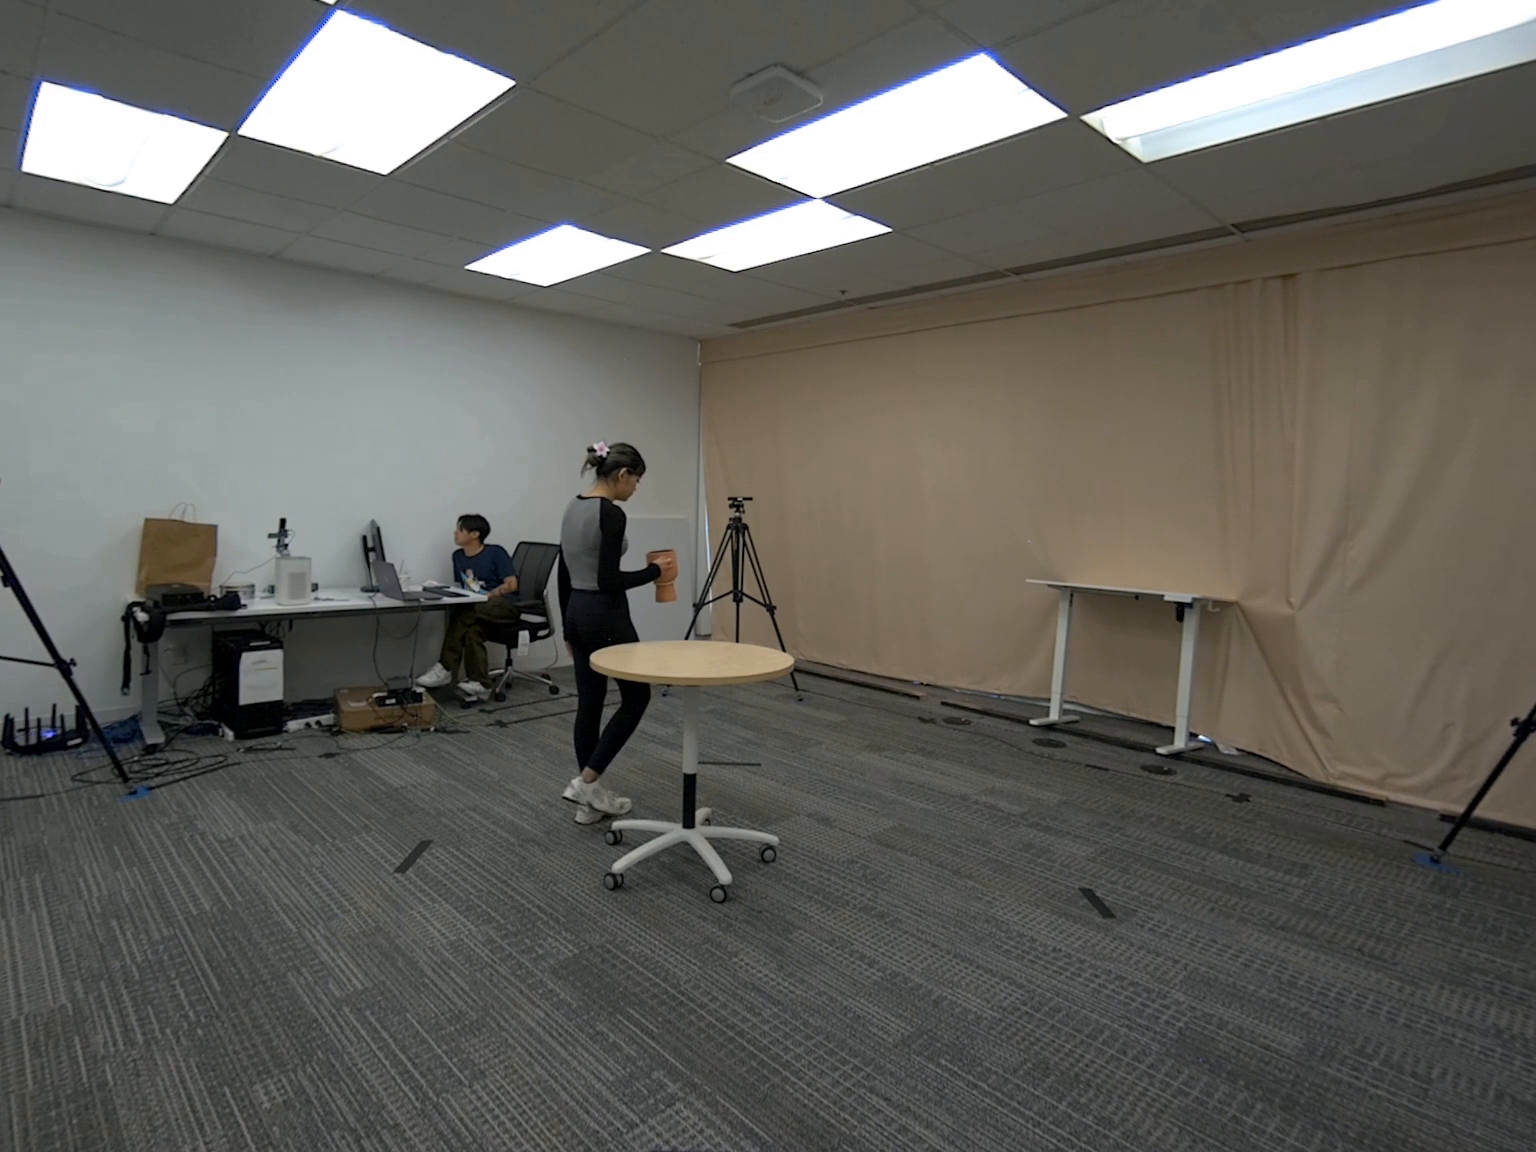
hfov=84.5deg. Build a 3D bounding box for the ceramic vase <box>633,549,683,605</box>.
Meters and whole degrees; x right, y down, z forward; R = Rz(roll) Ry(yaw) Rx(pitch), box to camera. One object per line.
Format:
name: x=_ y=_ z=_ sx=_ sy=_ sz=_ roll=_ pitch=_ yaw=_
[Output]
ceramic vase: x=-0.486 y=0.001 z=3.727 sx=0.137 sy=0.219 sz=0.156 roll=-2 pitch=5 yaw=27
